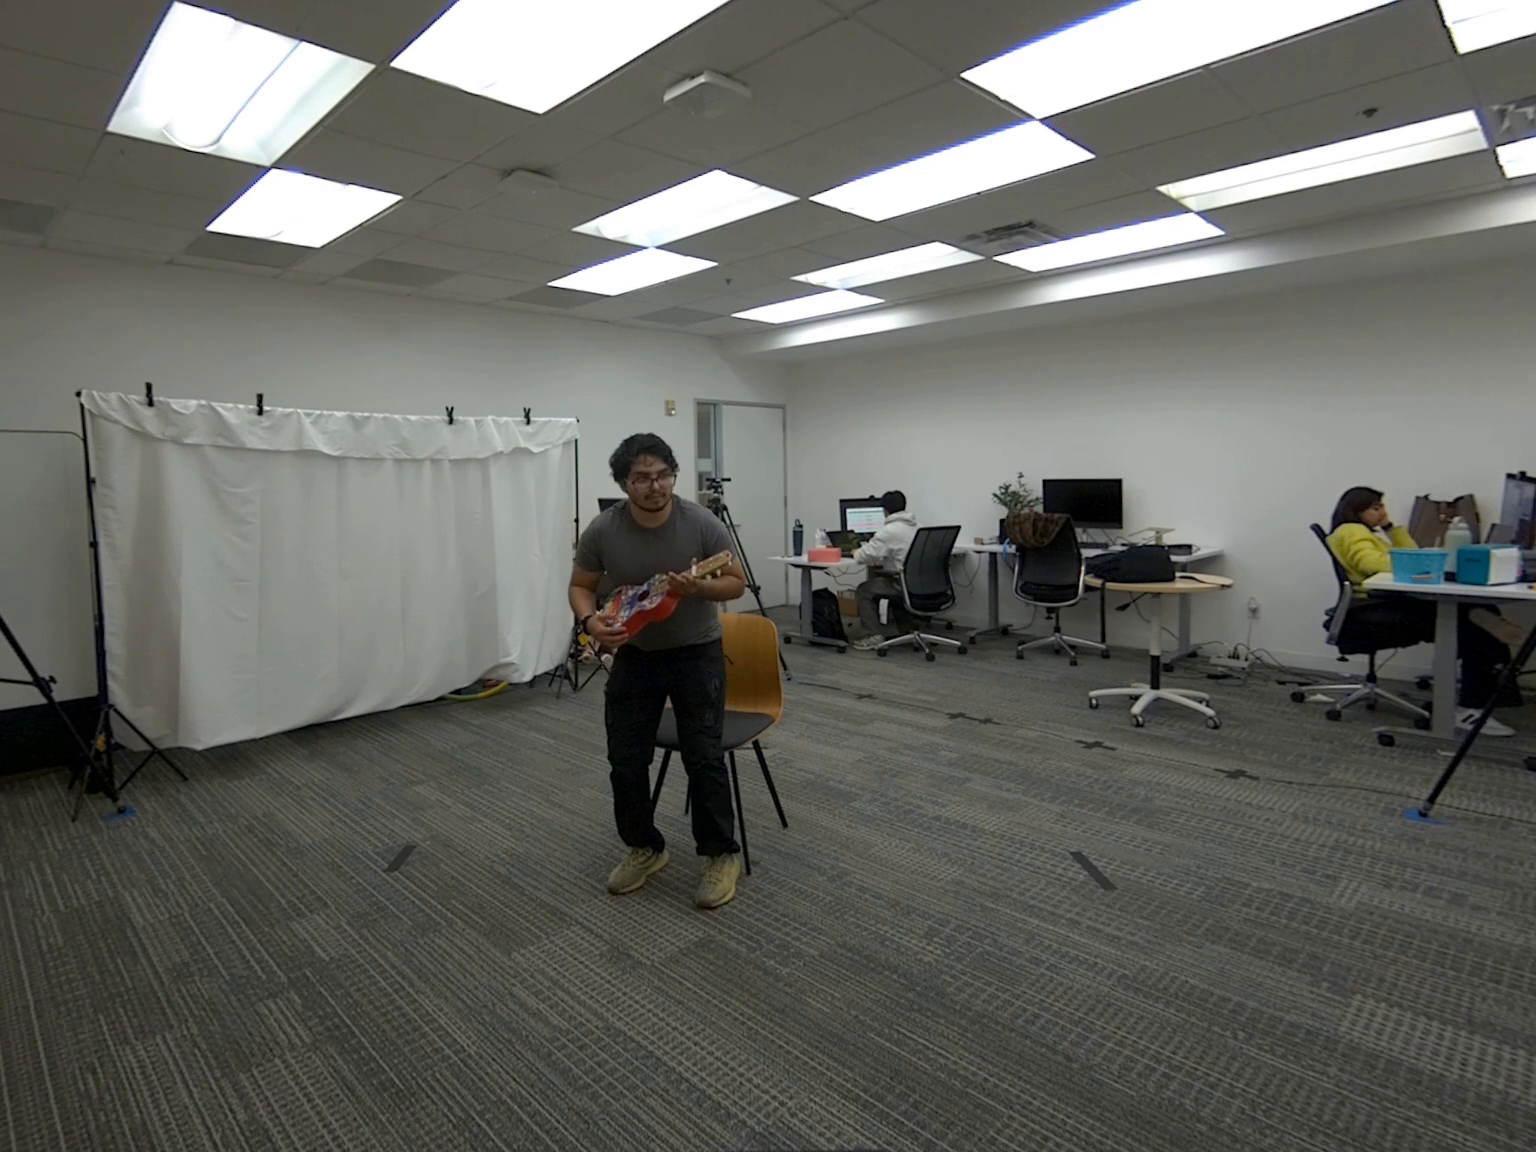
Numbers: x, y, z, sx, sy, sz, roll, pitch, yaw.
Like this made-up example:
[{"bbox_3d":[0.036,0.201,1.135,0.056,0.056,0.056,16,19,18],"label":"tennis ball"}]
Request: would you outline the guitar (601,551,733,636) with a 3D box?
[{"bbox_3d":[-0.313,0.077,2.628,0.506,0.197,0.068,-18,-48,30],"label":"guitar"}]
